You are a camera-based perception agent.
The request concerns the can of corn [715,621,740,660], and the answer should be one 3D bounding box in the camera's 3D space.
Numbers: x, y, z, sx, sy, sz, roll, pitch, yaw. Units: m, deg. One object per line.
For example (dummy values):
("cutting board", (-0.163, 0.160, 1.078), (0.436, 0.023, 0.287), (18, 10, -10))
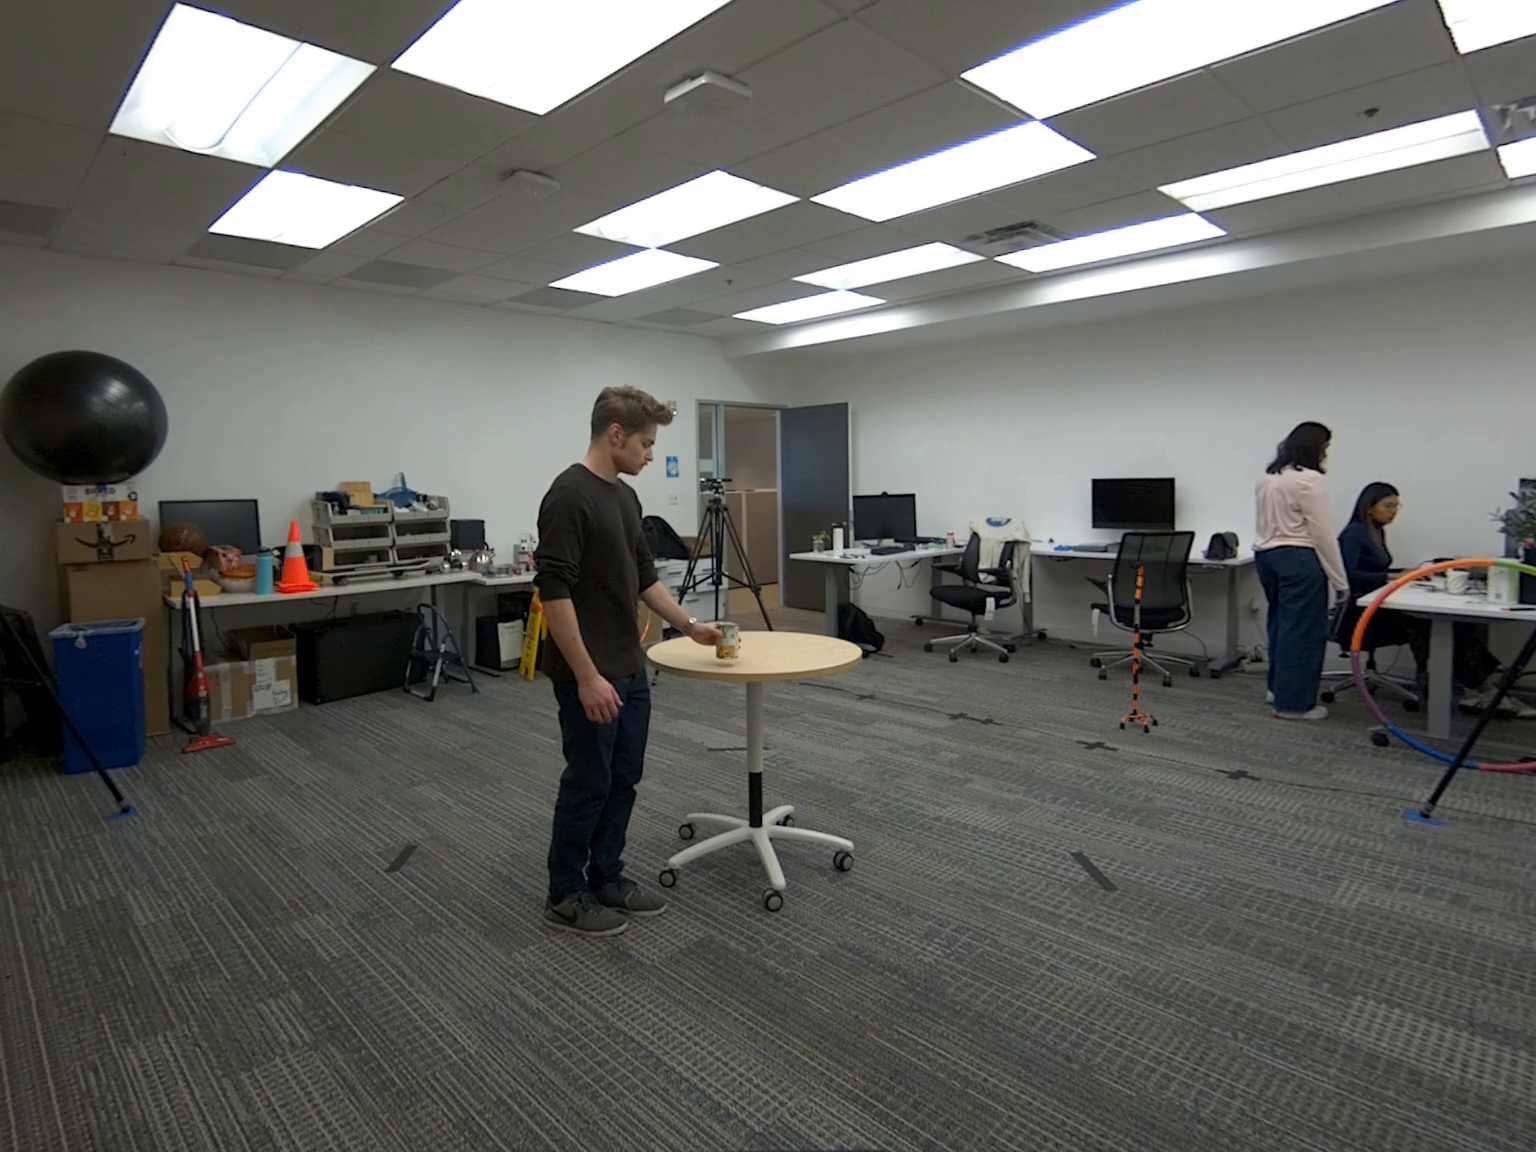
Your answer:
("can of corn", (-0.144, 0.209, 2.800), (0.074, 0.111, 0.074), (-1, 3, -2))
